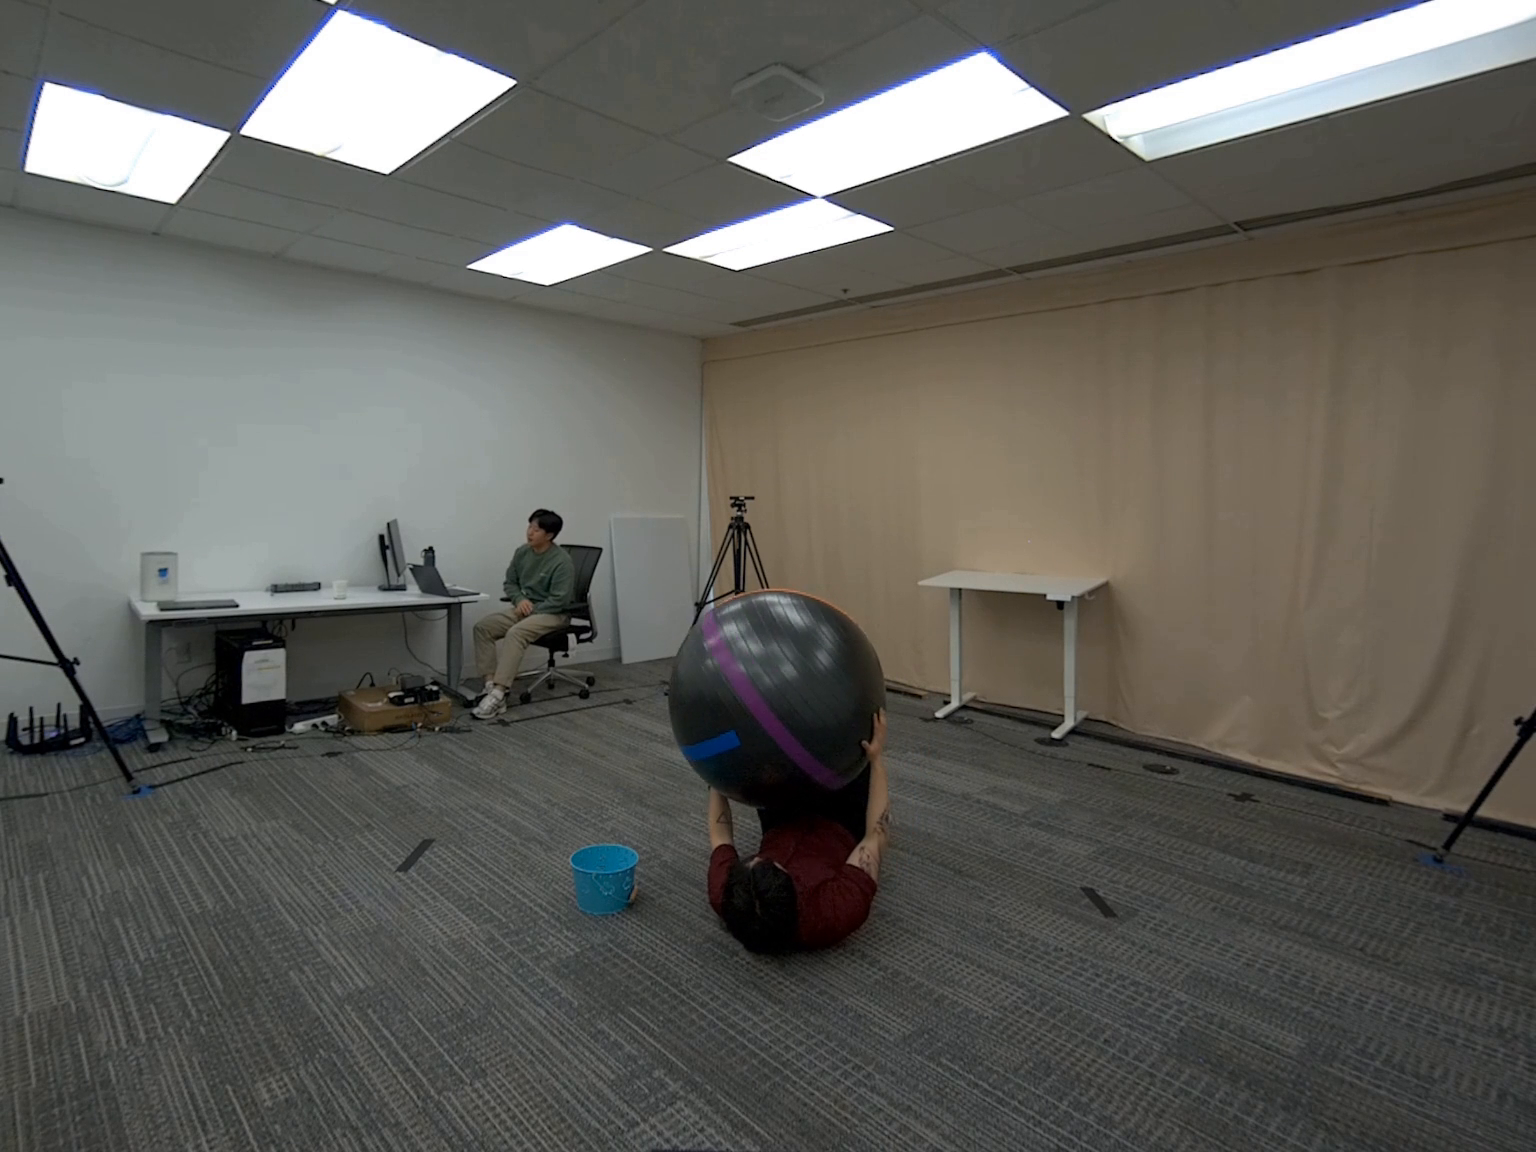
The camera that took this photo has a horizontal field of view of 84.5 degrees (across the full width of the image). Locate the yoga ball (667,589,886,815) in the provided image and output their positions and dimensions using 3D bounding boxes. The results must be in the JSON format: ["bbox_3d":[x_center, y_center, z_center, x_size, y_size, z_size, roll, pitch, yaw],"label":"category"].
[{"bbox_3d":[0.027,0.427,2.962,0.757,0.756,0.761,1,4,-1],"label":"yoga ball"}]
